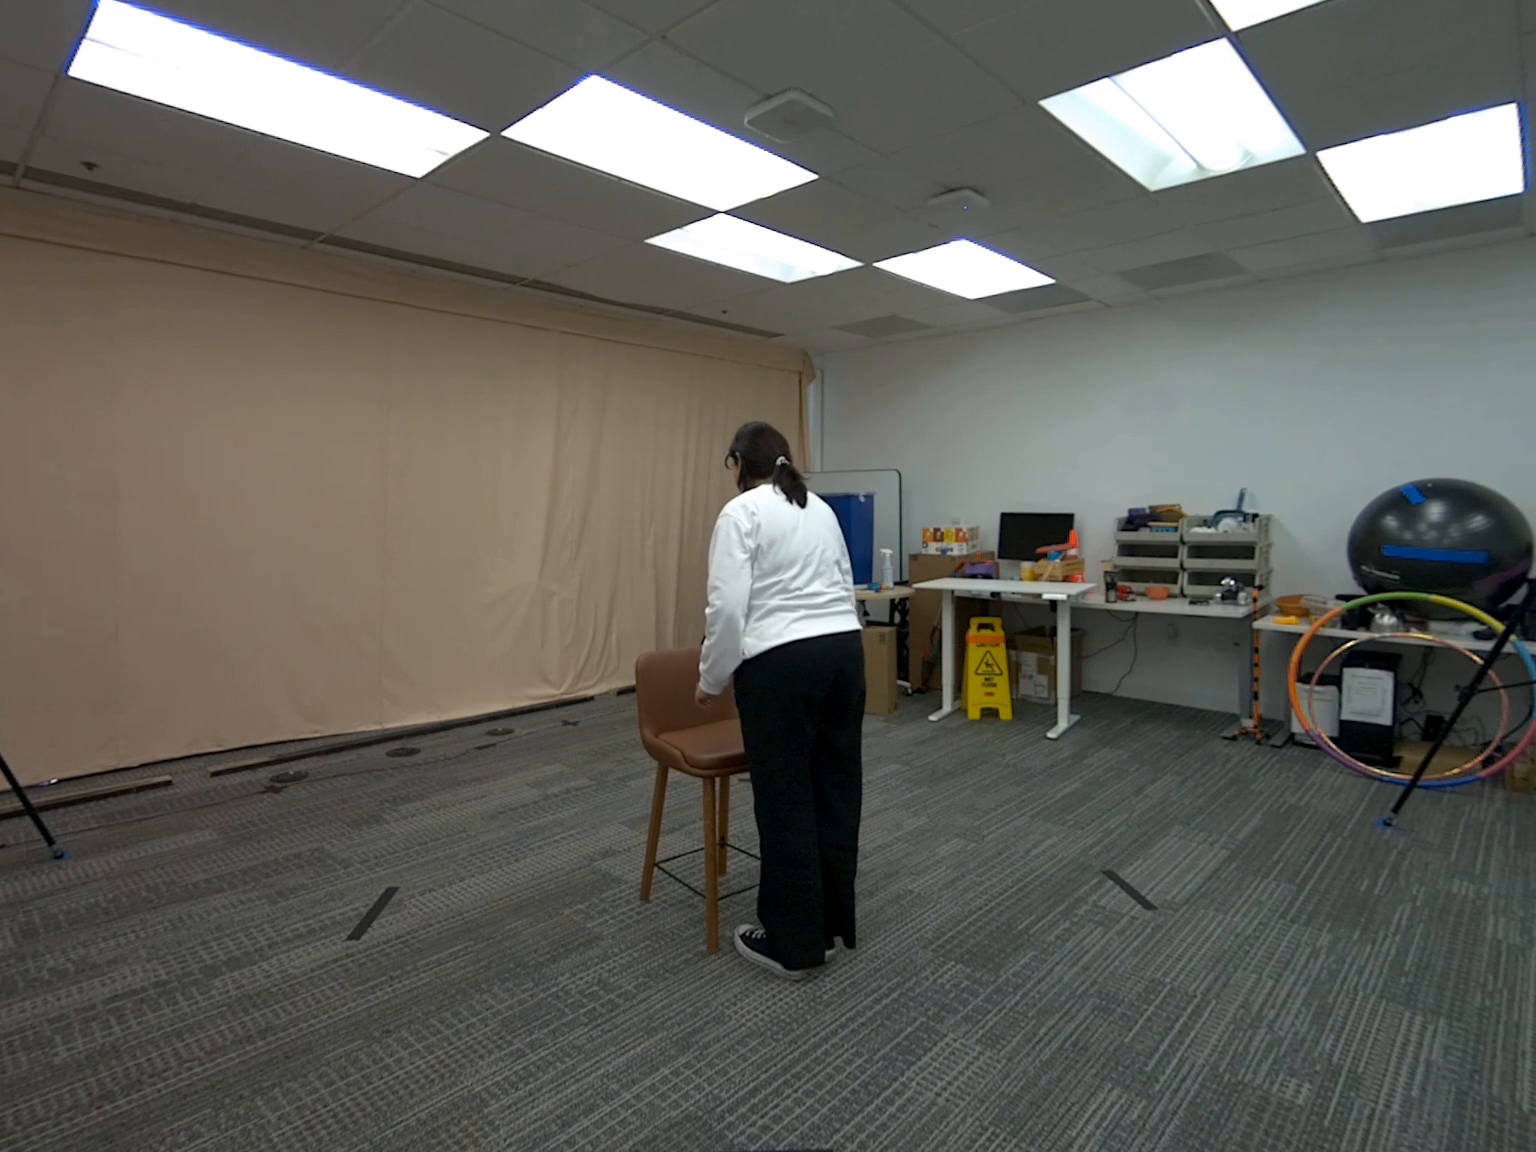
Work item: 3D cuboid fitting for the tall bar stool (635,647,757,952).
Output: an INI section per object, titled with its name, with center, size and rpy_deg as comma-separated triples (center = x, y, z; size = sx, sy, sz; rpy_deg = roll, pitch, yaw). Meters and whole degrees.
[tall bar stool]
center = -0.167, 0.713, 2.892
size = 0.443, 0.888, 0.482
rpy_deg = -3, 3, -39
